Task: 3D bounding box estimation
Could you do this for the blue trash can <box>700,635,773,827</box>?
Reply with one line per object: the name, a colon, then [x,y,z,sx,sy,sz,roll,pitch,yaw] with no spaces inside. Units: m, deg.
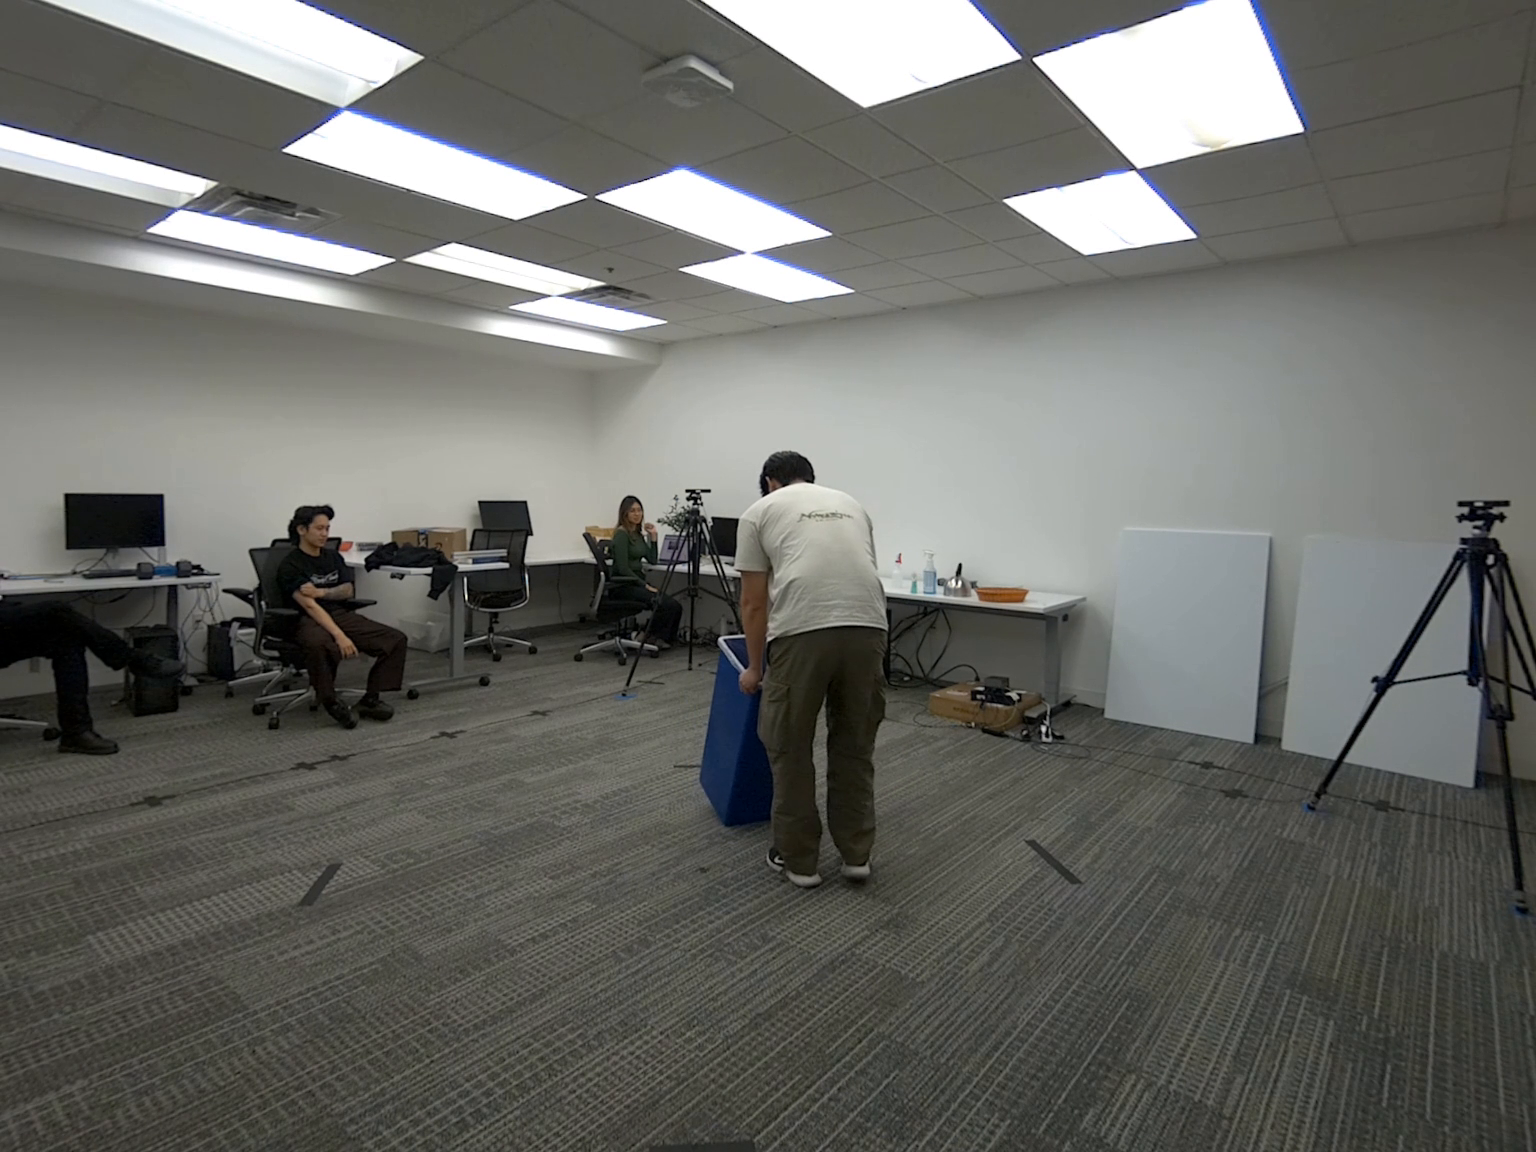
blue trash can: [-0.060,0.643,3.569,0.368,0.703,0.389,0,25,-28]
